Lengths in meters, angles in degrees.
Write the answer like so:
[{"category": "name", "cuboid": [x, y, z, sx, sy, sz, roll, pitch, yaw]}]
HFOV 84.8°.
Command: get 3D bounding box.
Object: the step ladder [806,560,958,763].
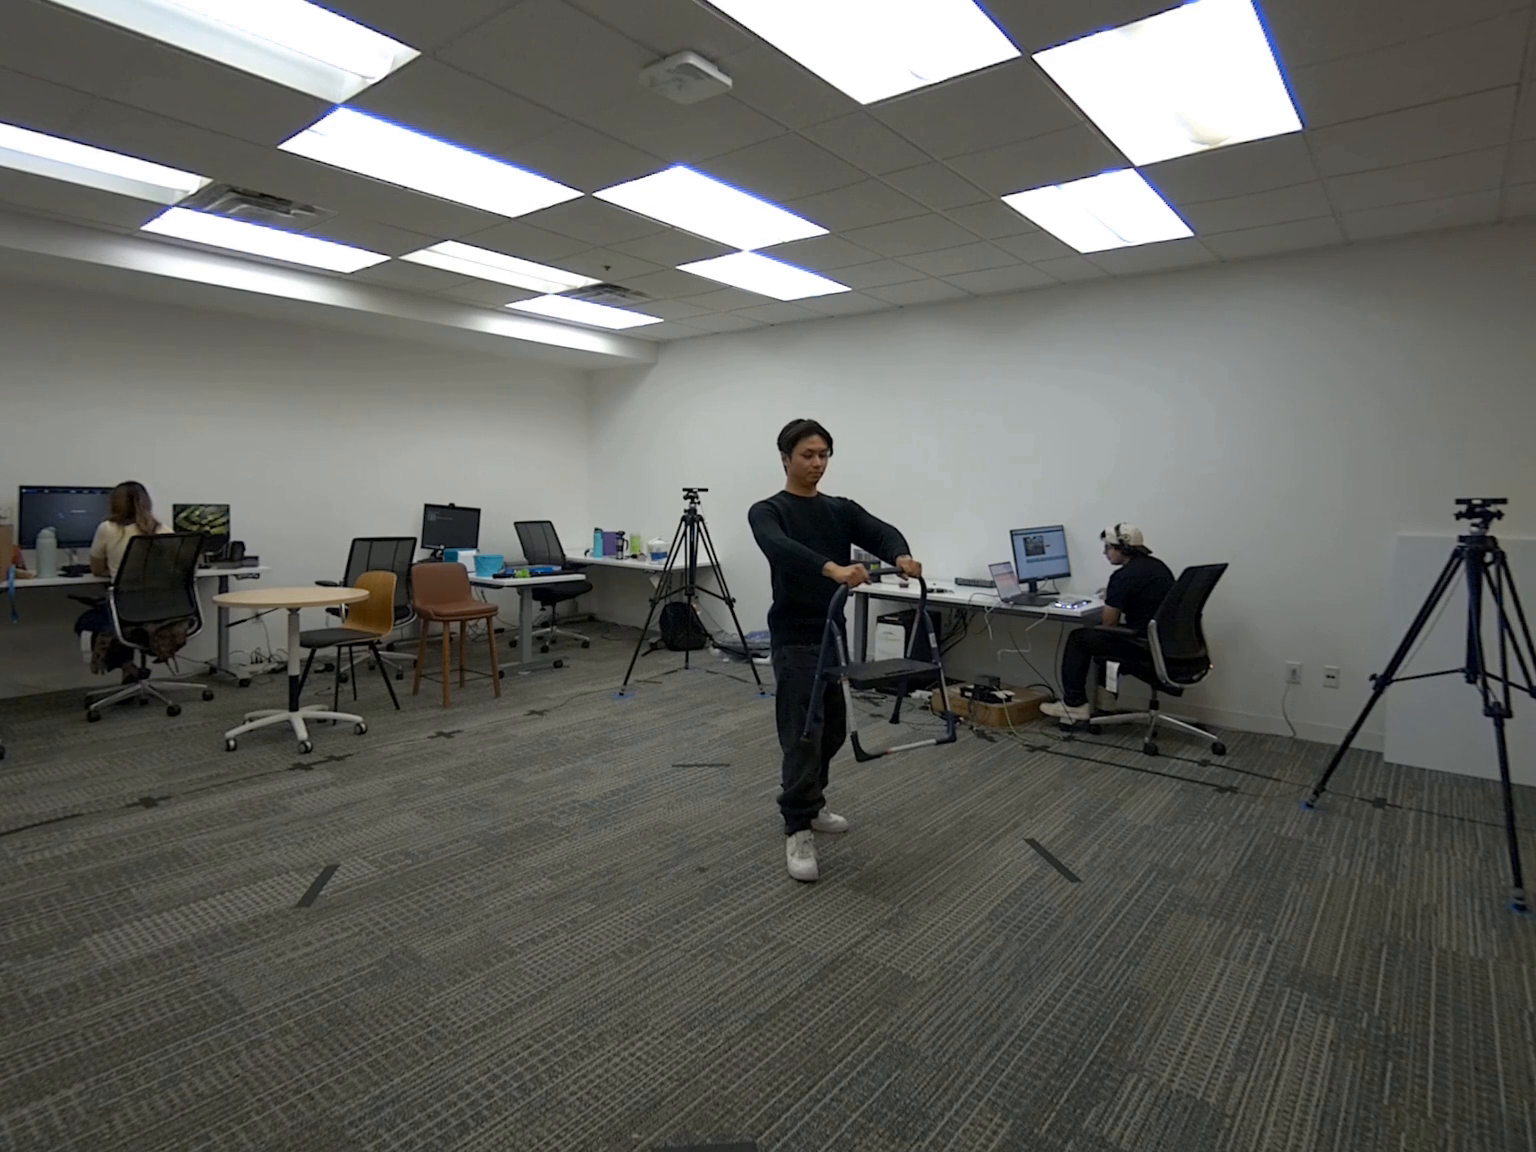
[{"category": "step ladder", "cuboid": [0.366, 0.271, 2.949, 0.420, 0.605, 0.359, -3, 2, -29]}]
